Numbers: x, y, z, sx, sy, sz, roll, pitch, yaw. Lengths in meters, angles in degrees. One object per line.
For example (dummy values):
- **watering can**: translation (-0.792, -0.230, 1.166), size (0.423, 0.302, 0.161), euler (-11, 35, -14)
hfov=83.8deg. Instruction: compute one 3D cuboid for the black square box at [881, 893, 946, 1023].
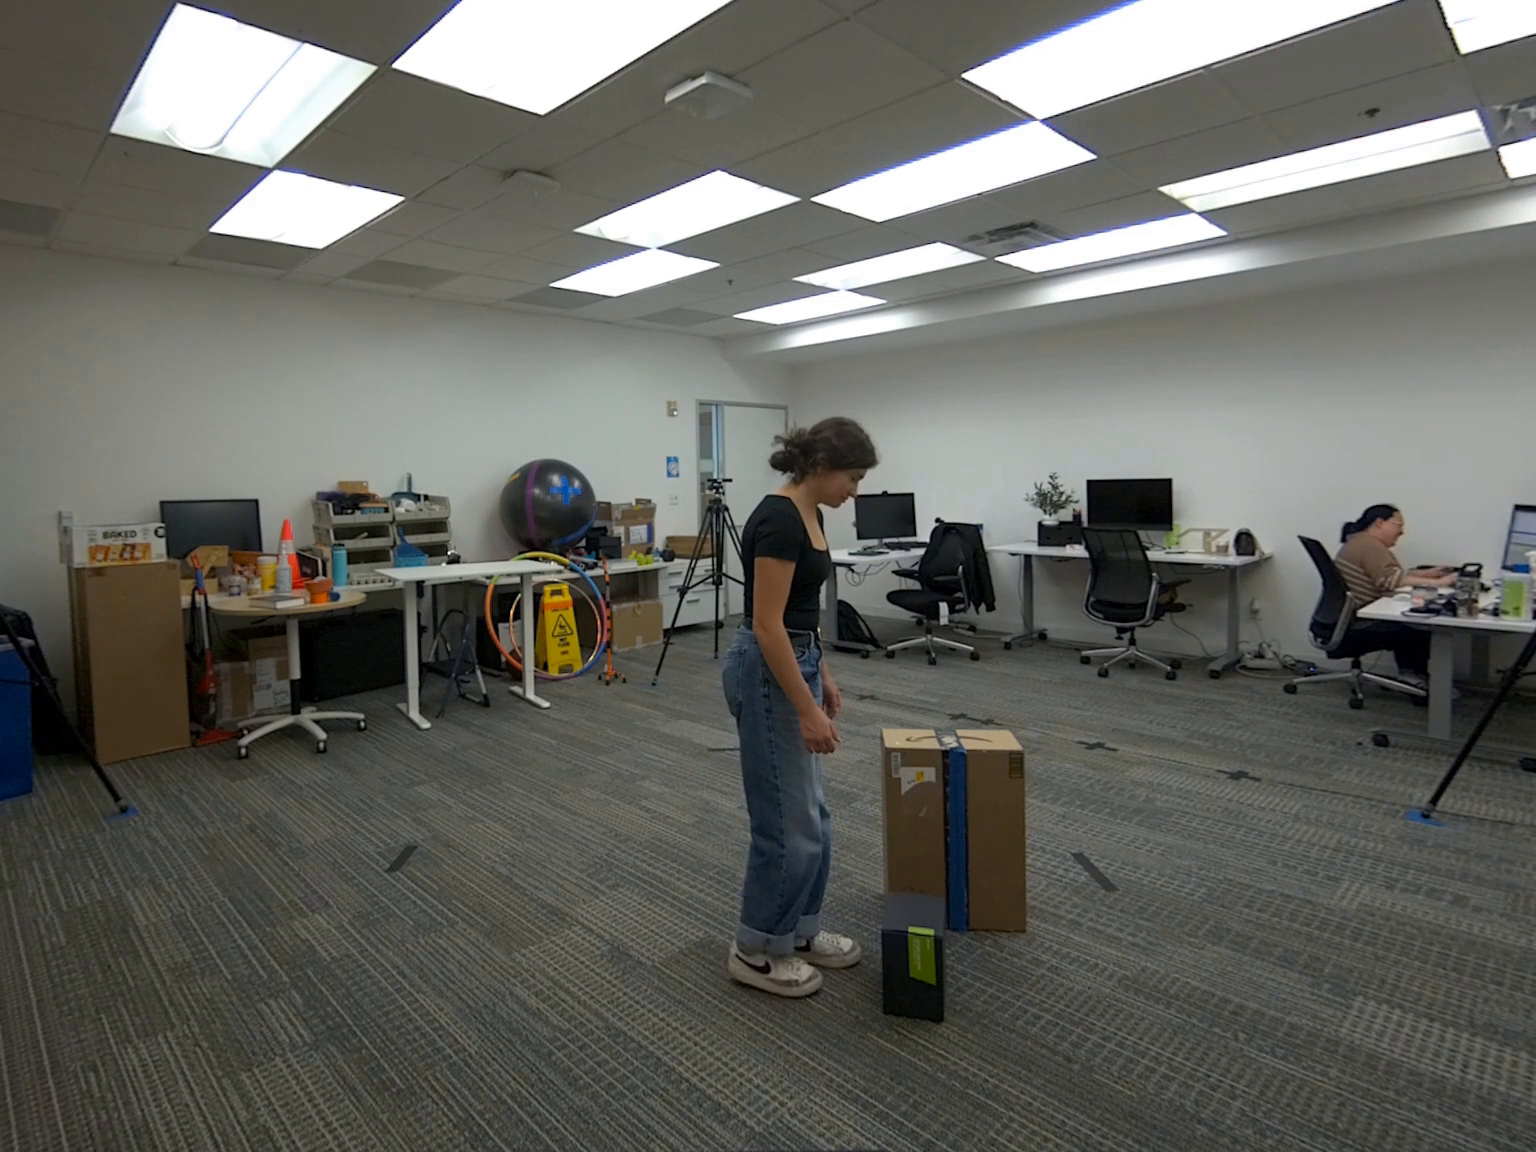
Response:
- **black square box**: translation (0.393, 1.006, 2.294), size (0.158, 0.227, 0.215), euler (0, 5, 14)
